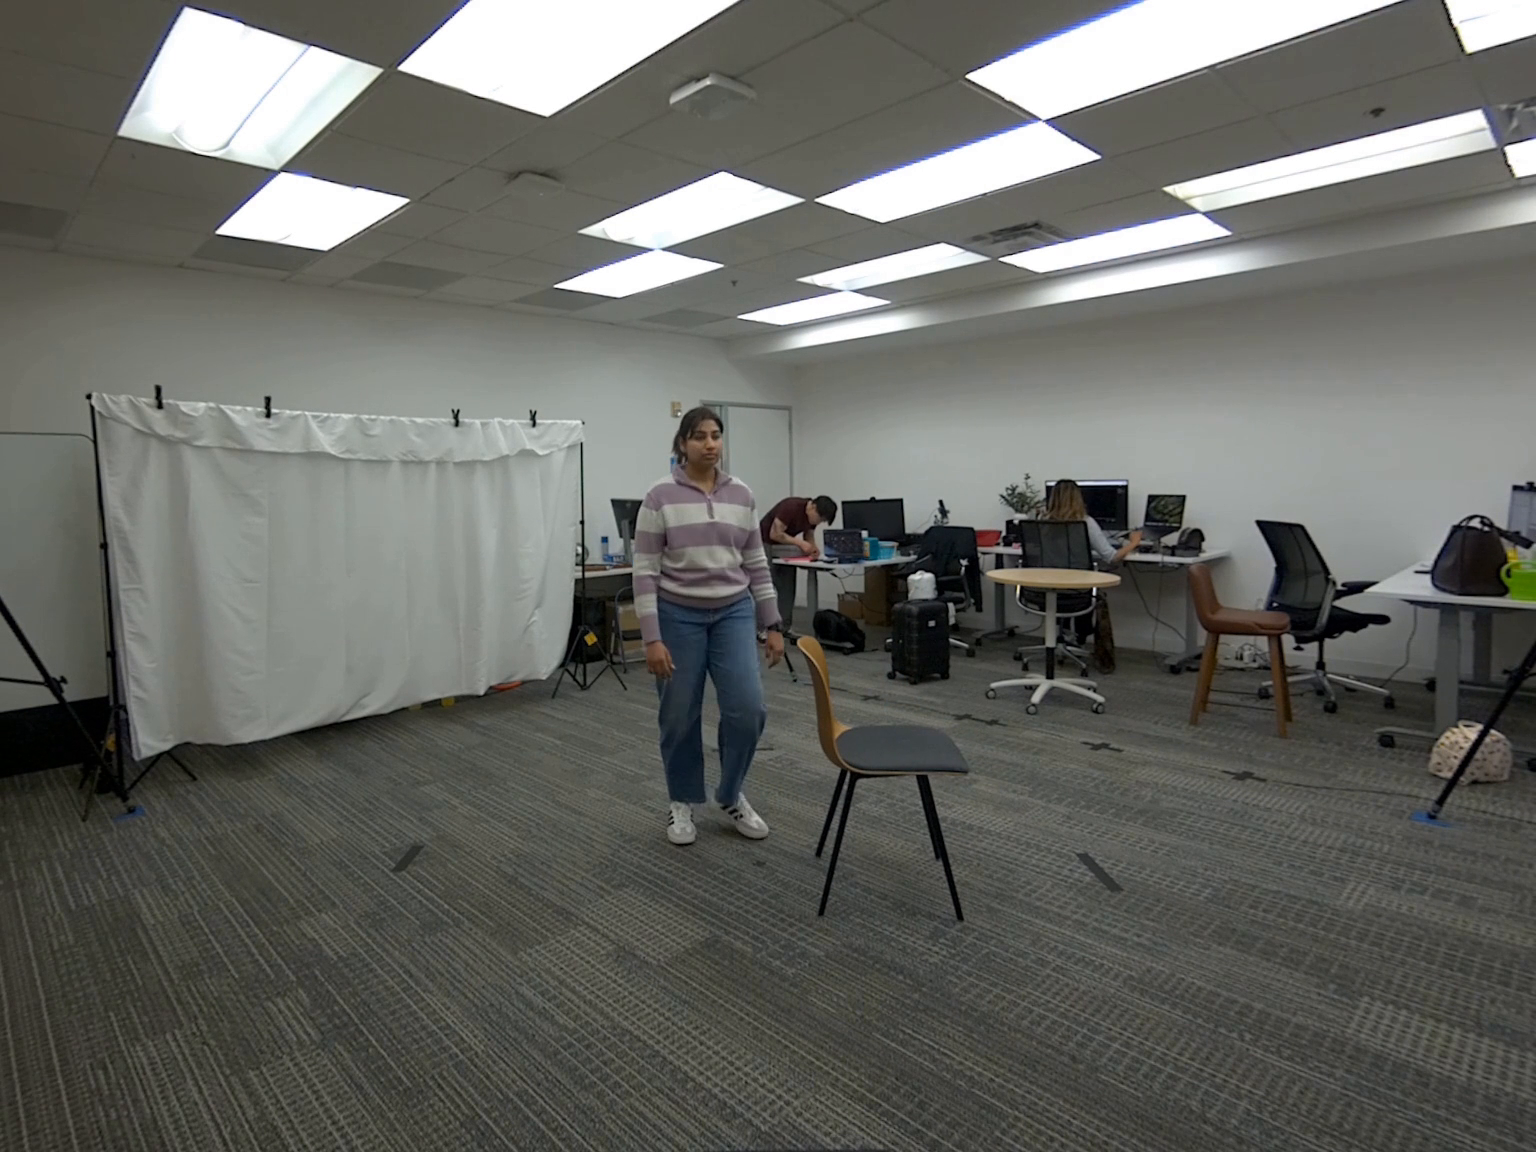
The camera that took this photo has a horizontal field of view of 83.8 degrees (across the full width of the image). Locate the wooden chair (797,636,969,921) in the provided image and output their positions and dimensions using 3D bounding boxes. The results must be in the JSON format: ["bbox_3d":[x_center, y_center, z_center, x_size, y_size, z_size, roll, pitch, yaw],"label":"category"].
[{"bbox_3d":[0.398,0.634,2.897,0.525,0.875,0.477,-4,3,4],"label":"wooden chair"}]
